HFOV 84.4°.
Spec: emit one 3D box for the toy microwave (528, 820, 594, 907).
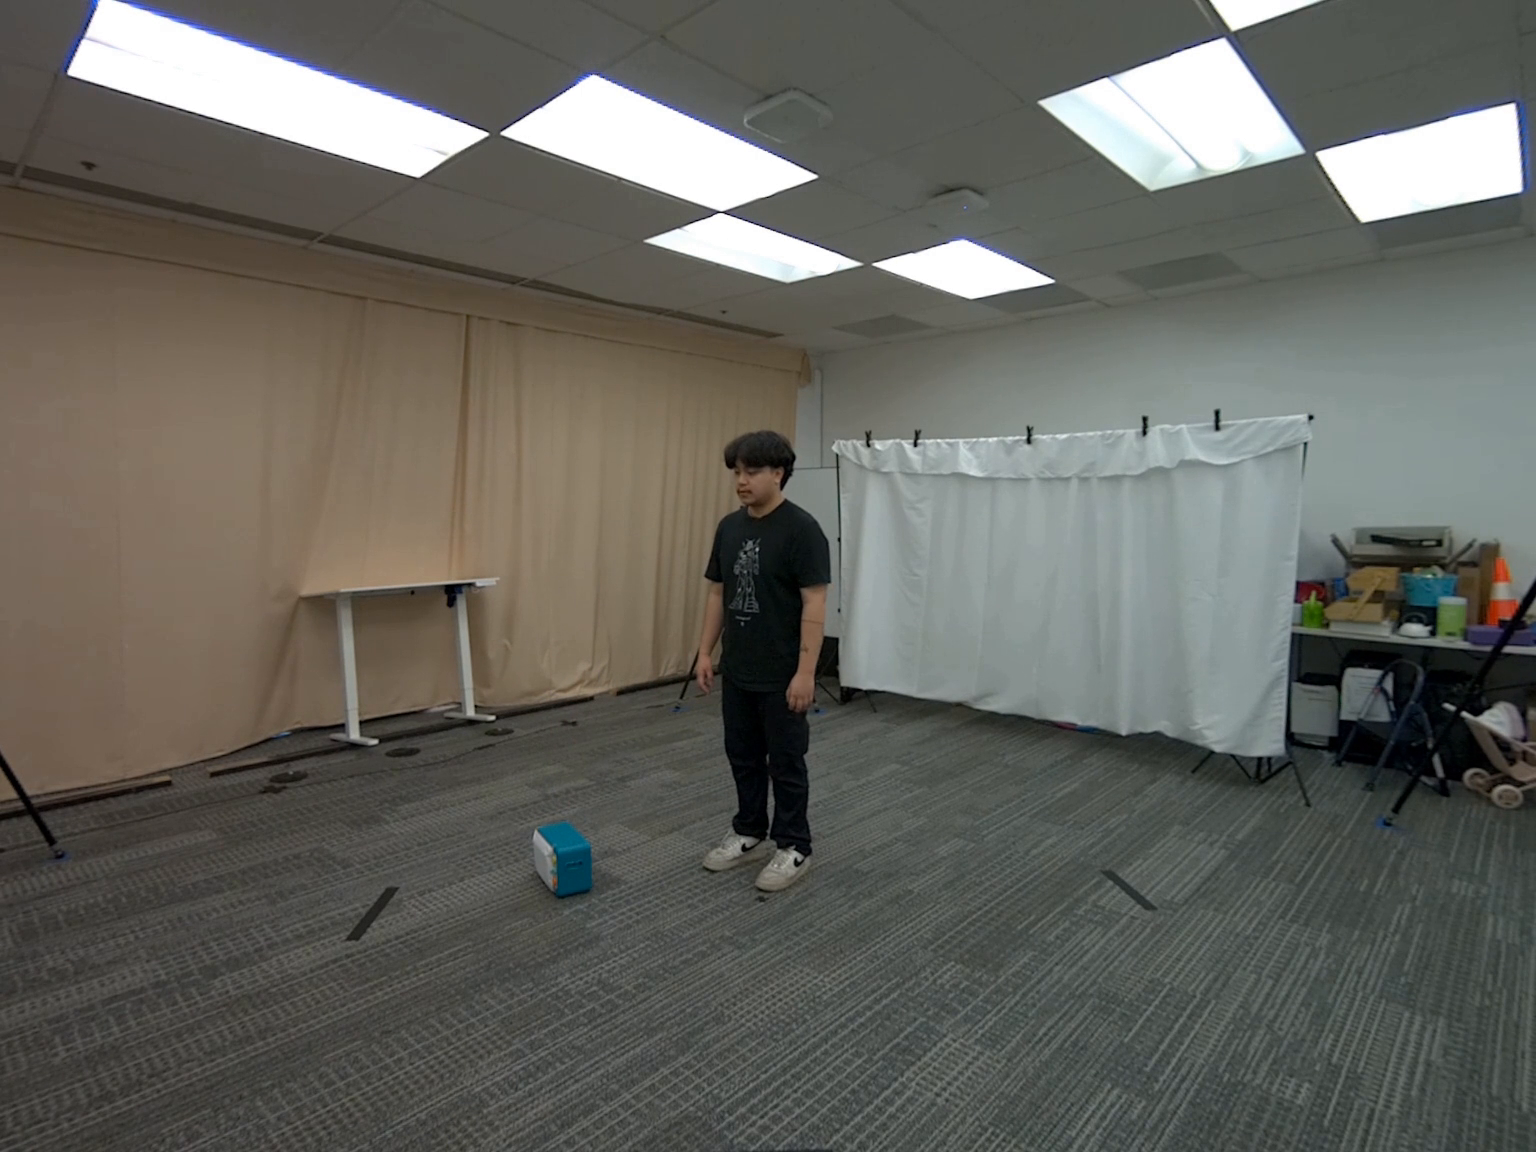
[{"bbox_3d":[-0.770,1.052,3.126,0.148,0.184,0.294,-3,5,-30],"label":"toy microwave"}]
